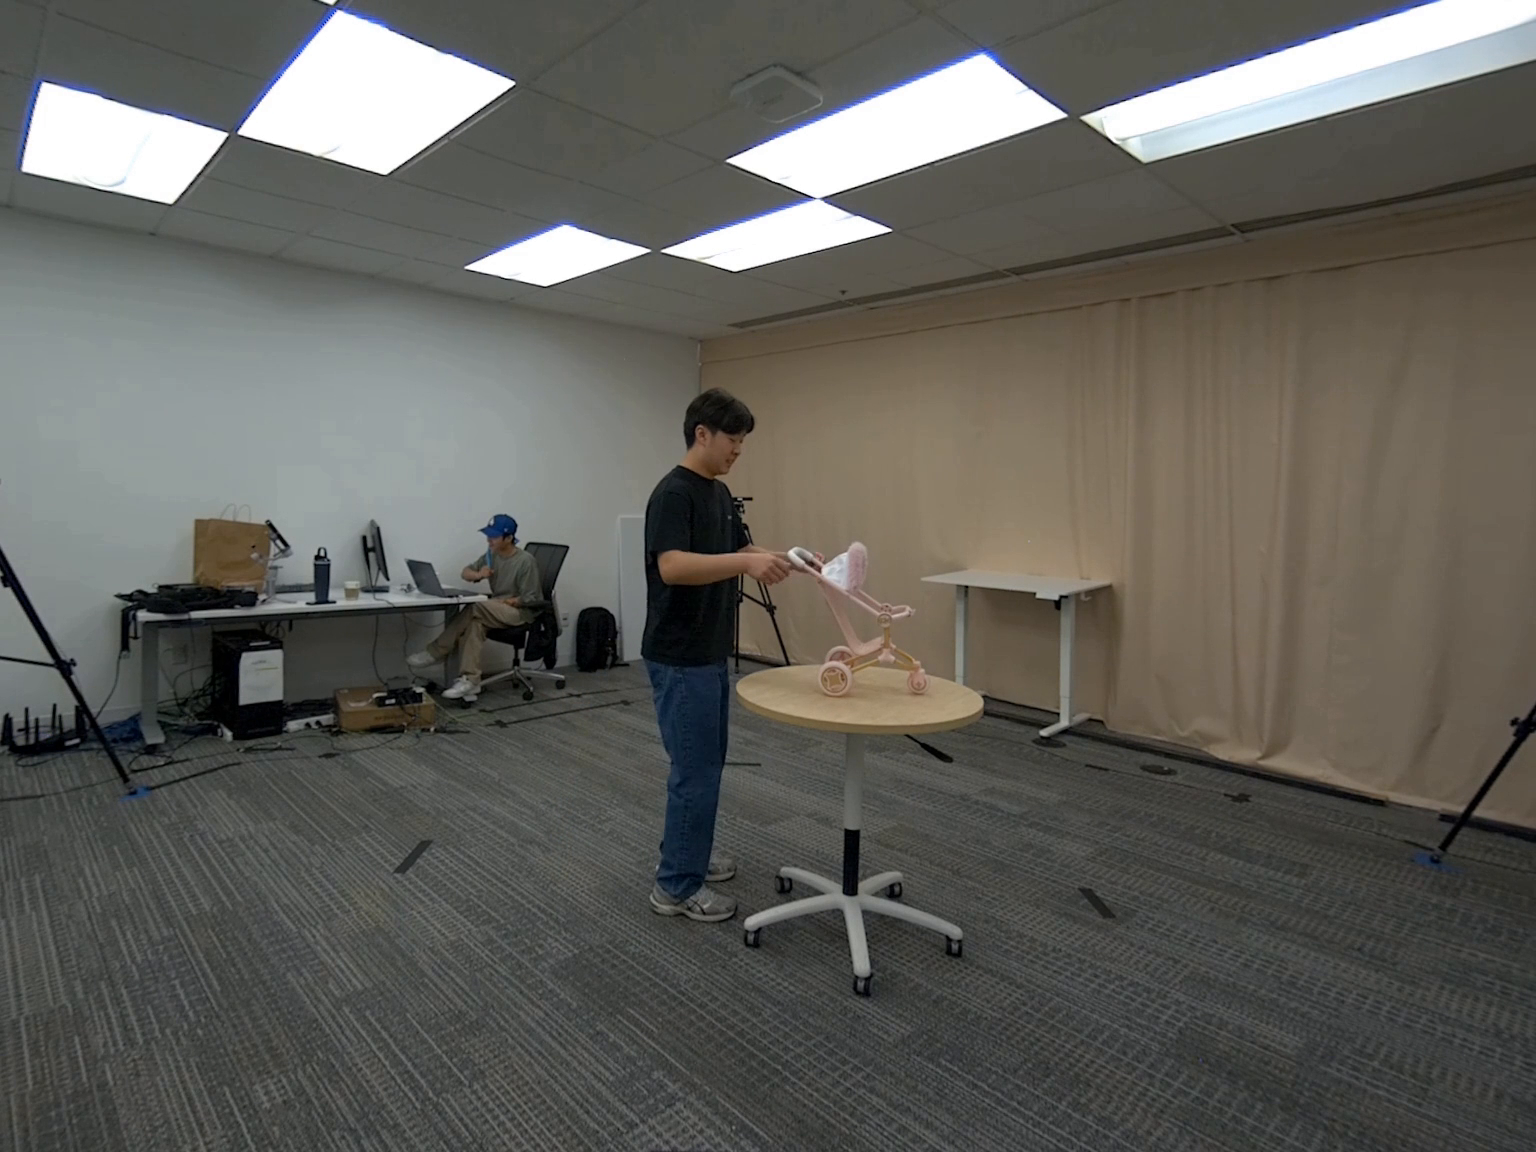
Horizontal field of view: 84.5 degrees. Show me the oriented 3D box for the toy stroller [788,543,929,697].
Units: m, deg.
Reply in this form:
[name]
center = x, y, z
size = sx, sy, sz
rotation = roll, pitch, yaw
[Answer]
[toy stroller]
center = 0.290, 0.140, 2.650
size = 0.345, 0.535, 0.278
rotation = -12, 0, 17
